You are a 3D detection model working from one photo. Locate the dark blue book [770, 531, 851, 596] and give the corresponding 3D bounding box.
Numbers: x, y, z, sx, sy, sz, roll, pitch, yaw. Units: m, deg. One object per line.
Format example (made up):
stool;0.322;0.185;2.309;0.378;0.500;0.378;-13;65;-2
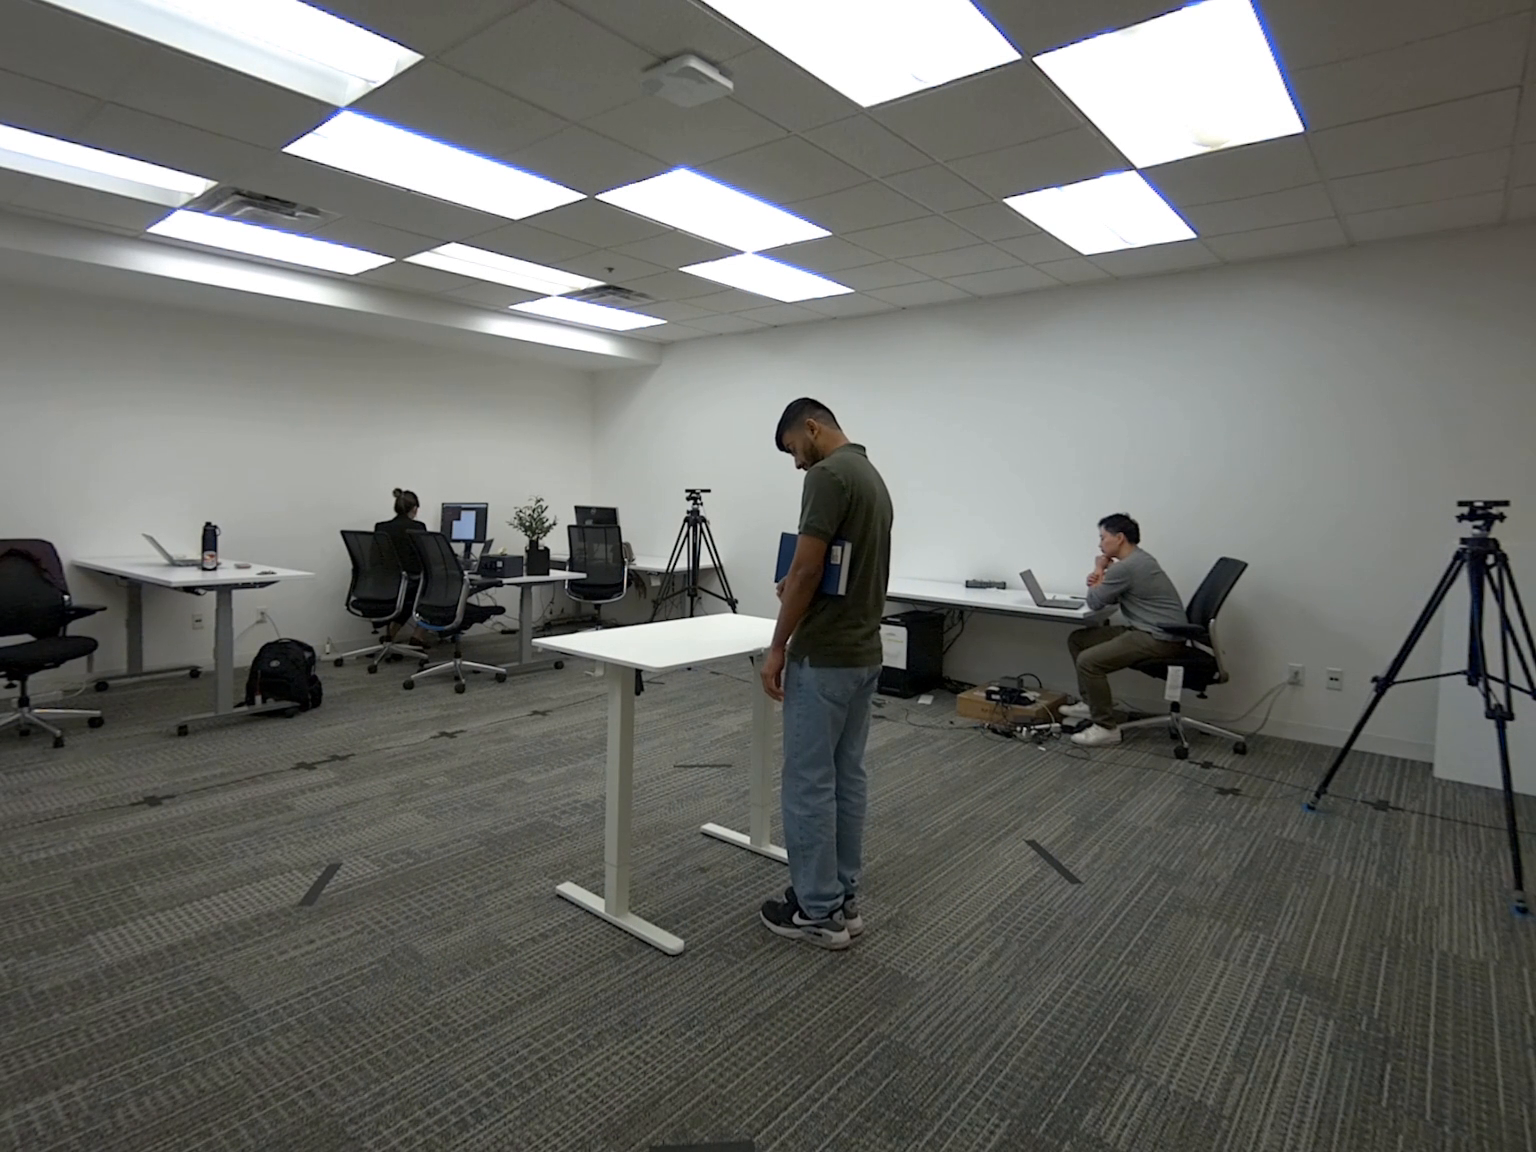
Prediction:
dark blue book;0.125;-0.039;2.585;0.254;0.163;0.043;12;4;41
